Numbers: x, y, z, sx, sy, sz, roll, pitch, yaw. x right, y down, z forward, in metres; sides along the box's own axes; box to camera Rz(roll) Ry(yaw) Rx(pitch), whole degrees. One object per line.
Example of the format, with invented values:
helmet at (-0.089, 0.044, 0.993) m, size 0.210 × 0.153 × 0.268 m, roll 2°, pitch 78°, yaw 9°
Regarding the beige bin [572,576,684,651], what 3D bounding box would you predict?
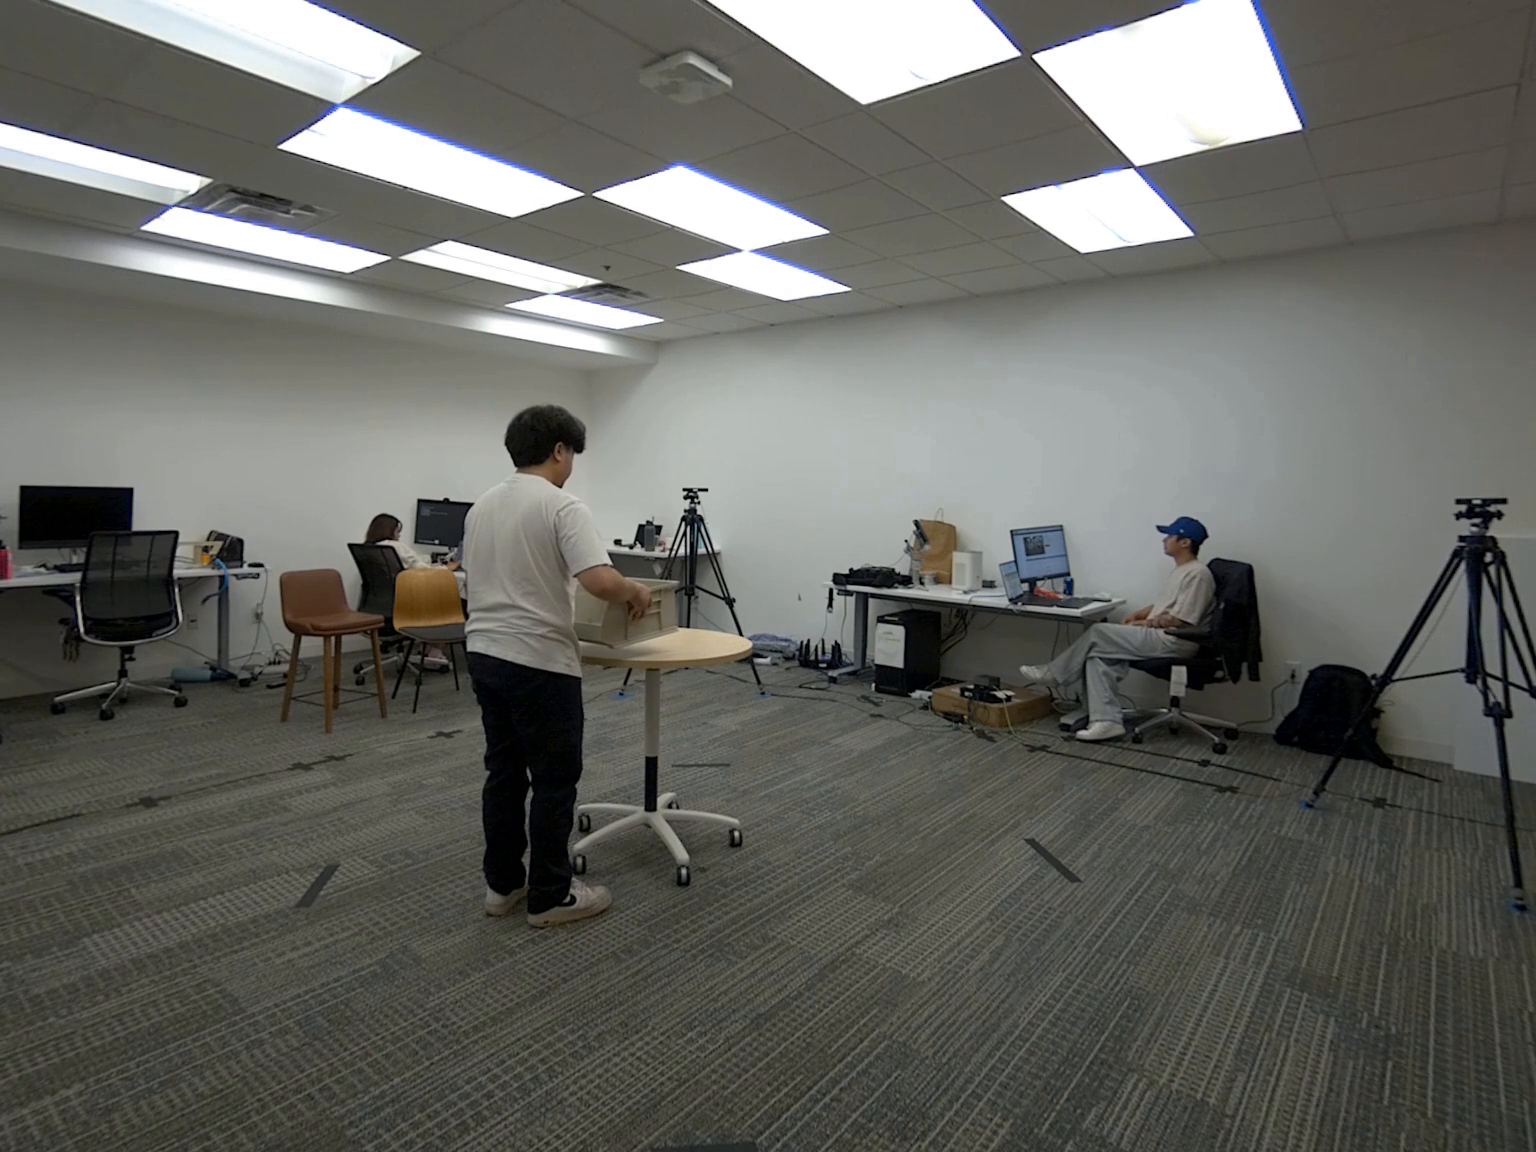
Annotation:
beige bin at (-0.598, 0.122, 3.058) m, size 0.436 × 0.188 × 0.367 m, roll 2°, pitch 8°, yaw 40°
